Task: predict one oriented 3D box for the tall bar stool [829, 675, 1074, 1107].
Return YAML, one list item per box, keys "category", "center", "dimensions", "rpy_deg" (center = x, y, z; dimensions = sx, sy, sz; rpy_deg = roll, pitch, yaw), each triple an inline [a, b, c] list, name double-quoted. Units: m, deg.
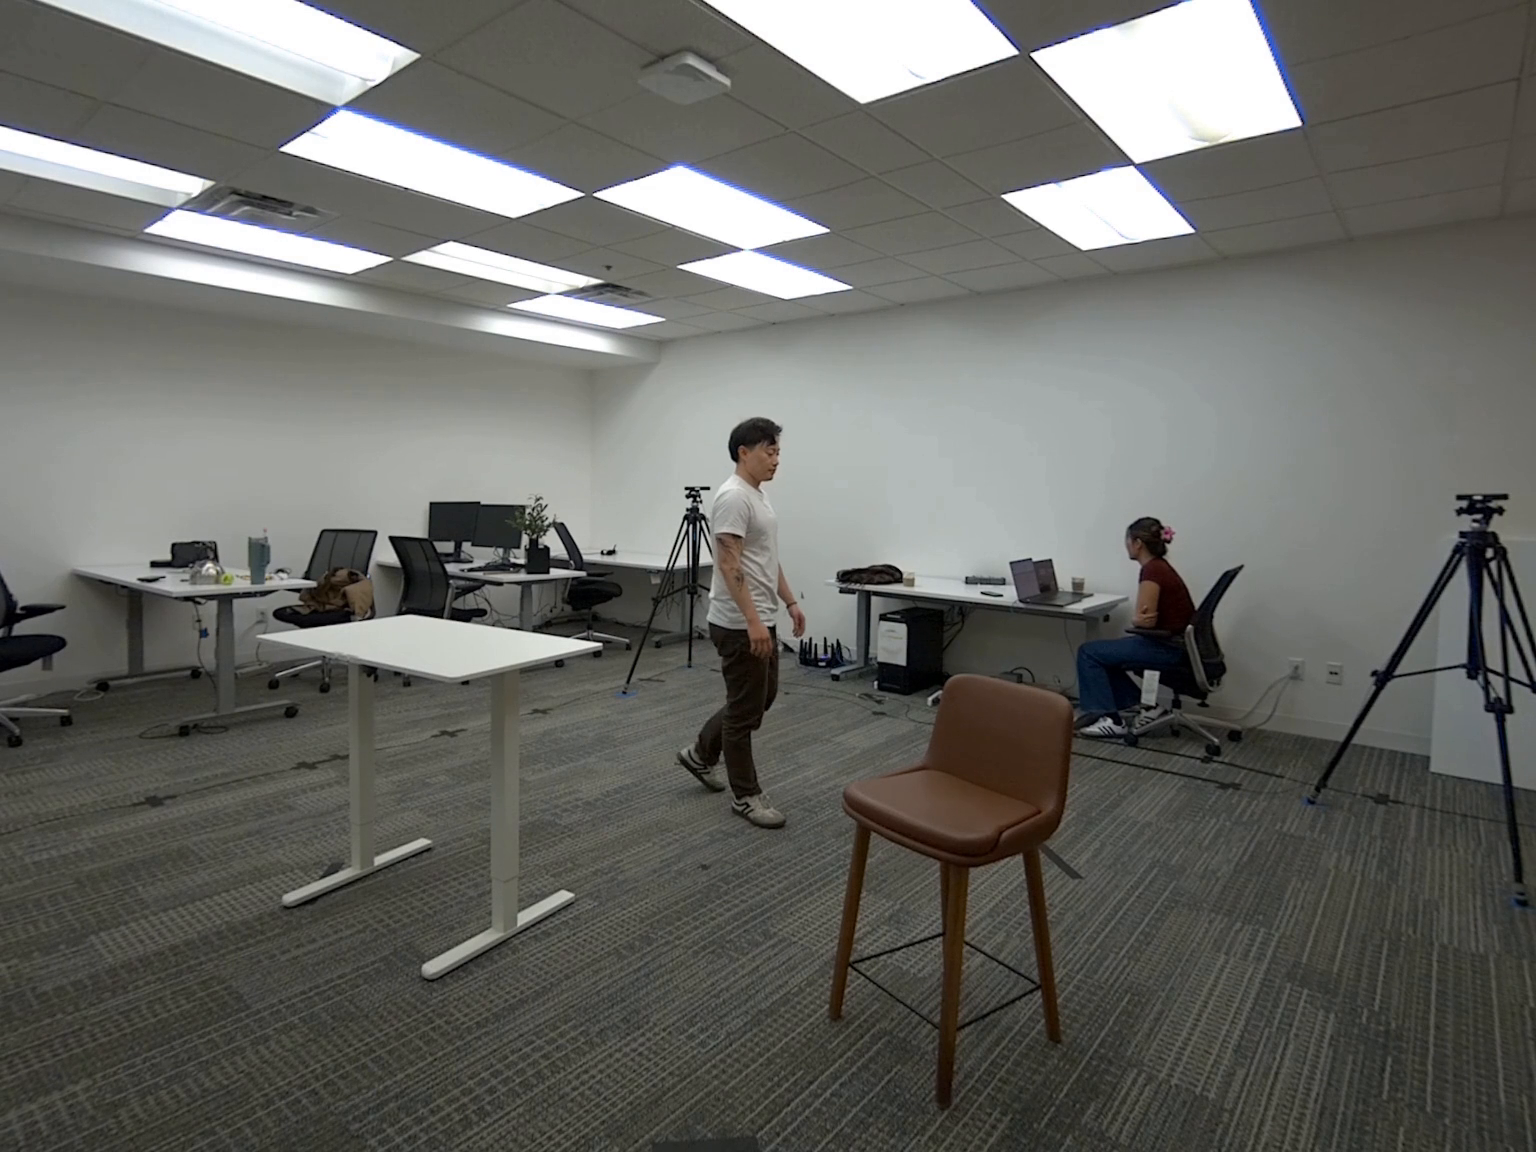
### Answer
- category: "tall bar stool"
  center: [0.469, 0.735, 2.183]
  dimensions: [0.454, 0.888, 0.471]
  rpy_deg: [1, 2, -35]
